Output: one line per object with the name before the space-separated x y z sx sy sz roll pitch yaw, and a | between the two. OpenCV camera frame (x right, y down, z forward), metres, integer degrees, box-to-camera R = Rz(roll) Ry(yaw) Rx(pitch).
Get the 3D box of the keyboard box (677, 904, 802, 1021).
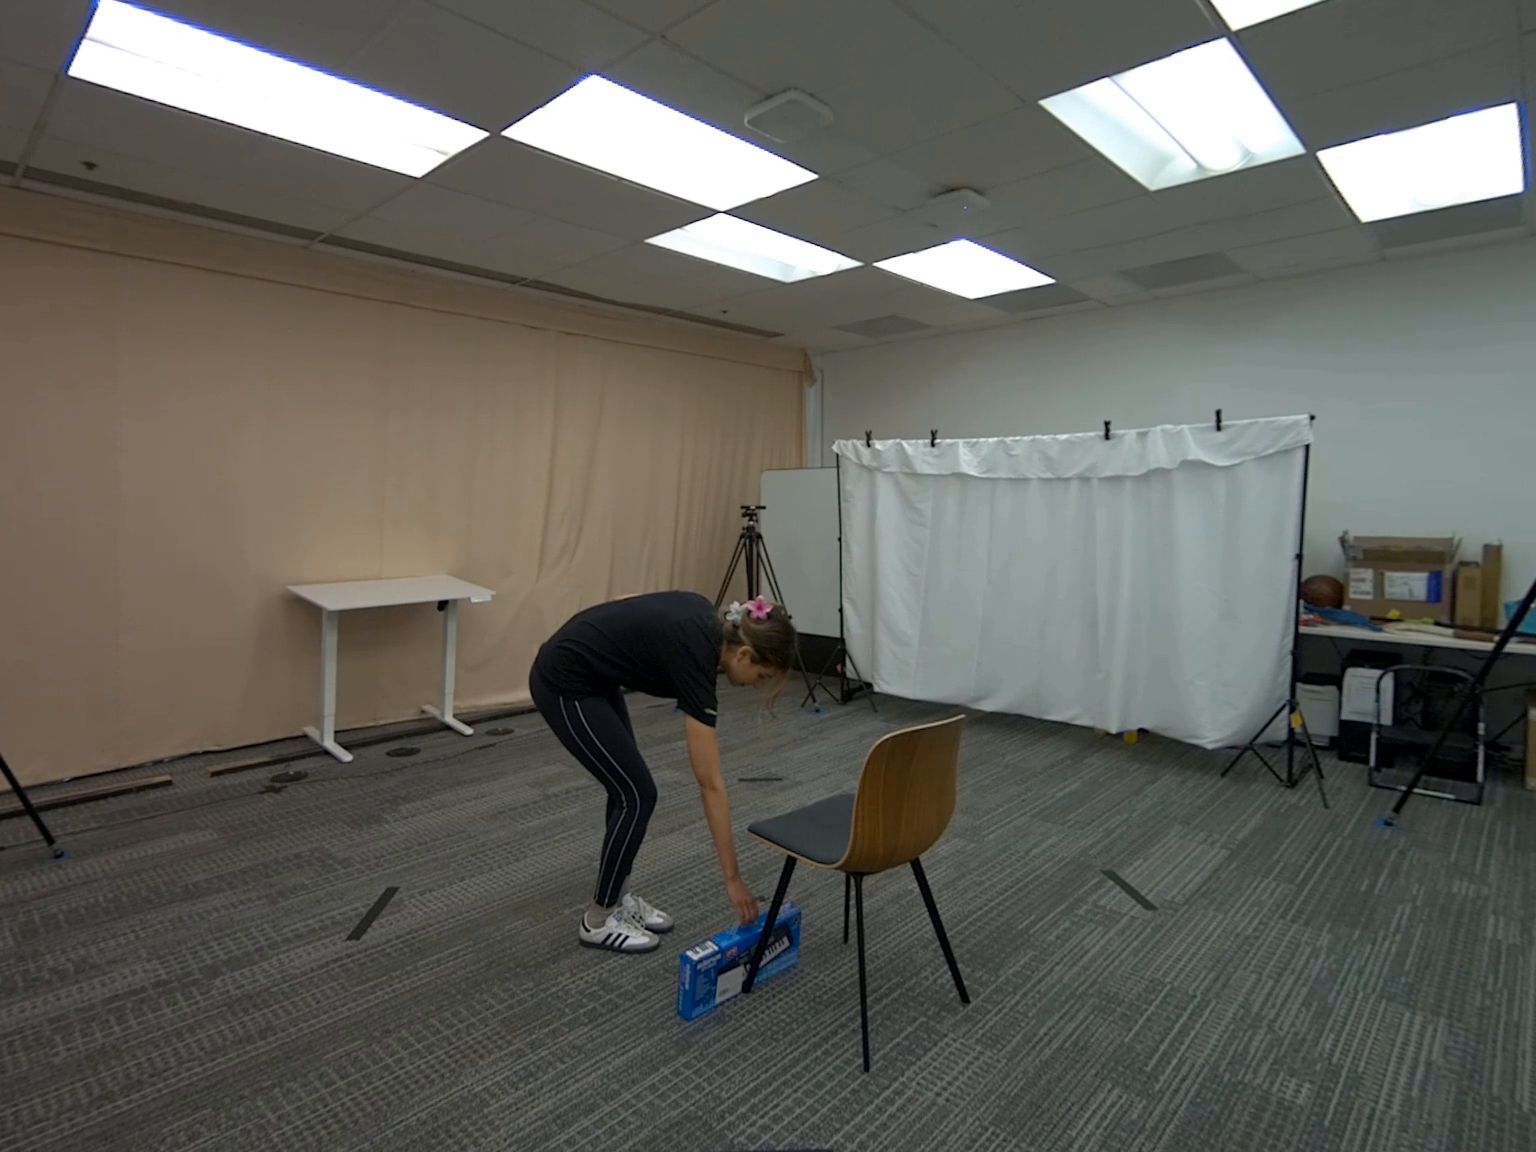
keyboard box | -0.077 1.108 2.421 0.423 0.175 0.061 -4 10 -44
